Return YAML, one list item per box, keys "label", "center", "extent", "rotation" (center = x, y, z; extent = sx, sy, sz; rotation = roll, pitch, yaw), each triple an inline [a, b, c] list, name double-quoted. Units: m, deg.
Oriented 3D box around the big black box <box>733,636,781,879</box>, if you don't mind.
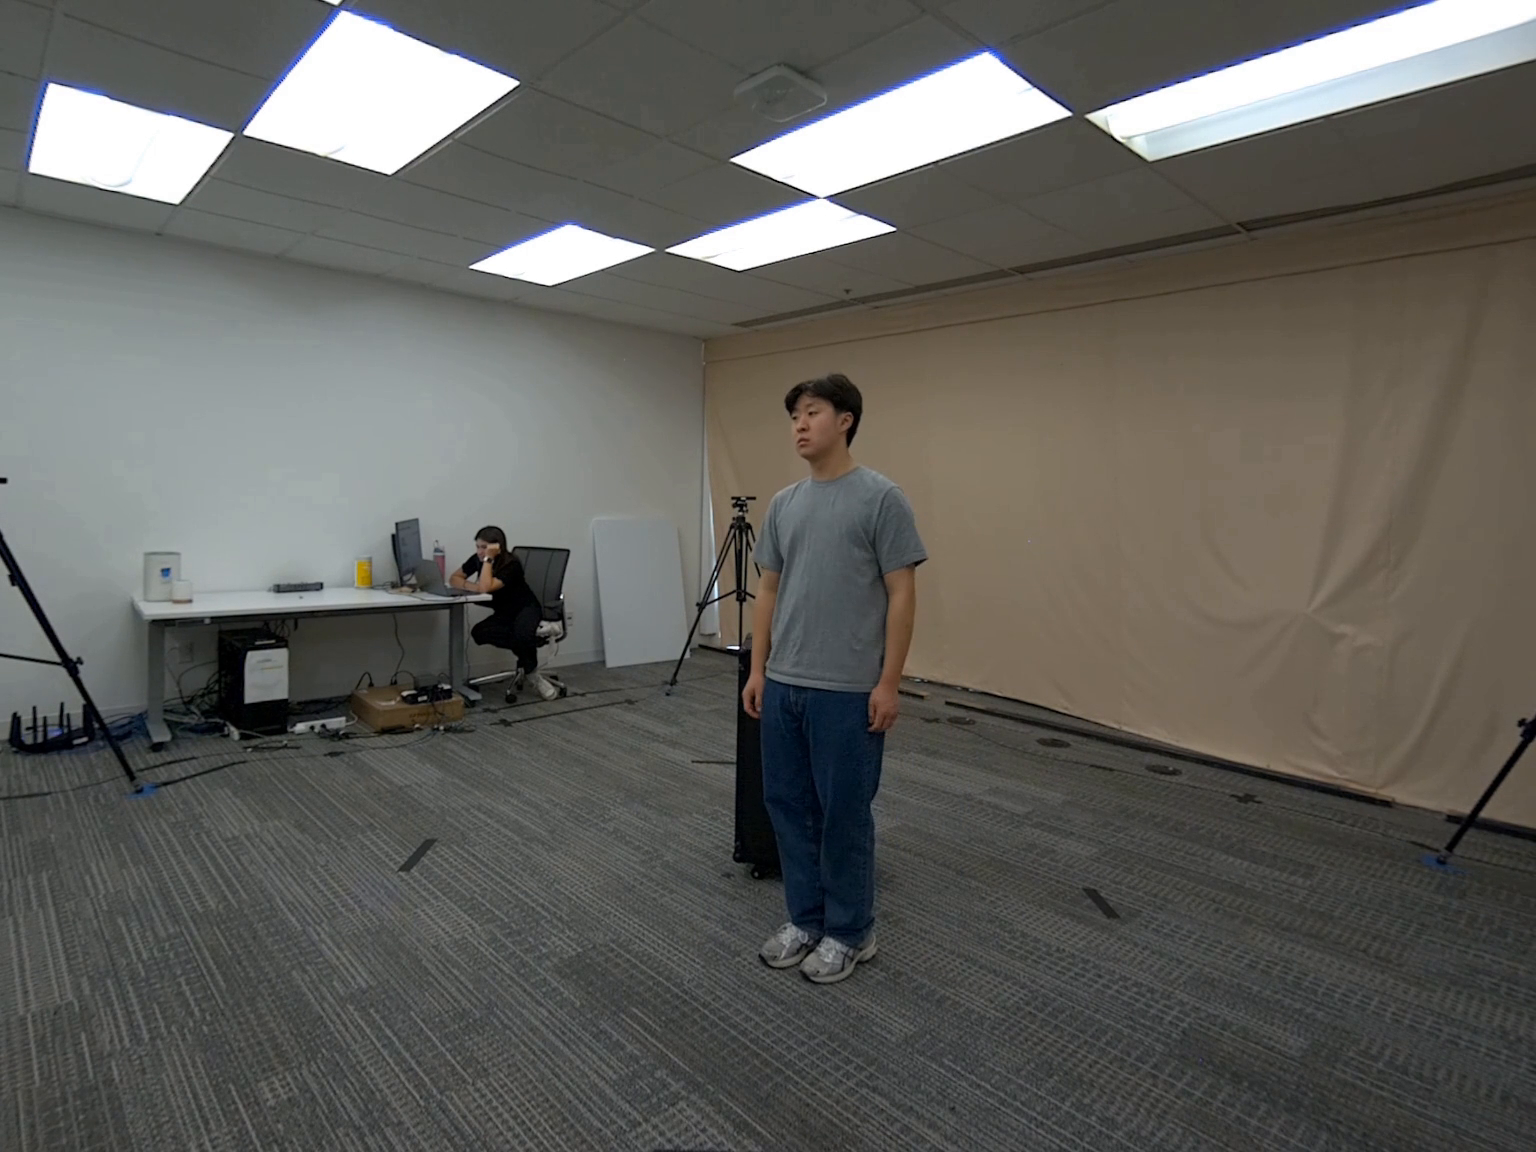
- label: "big black box"
  center: [0.136, 0.682, 3.170]
  extent: [0.524, 0.859, 0.395]
  rotation: [3, 4, 6]
